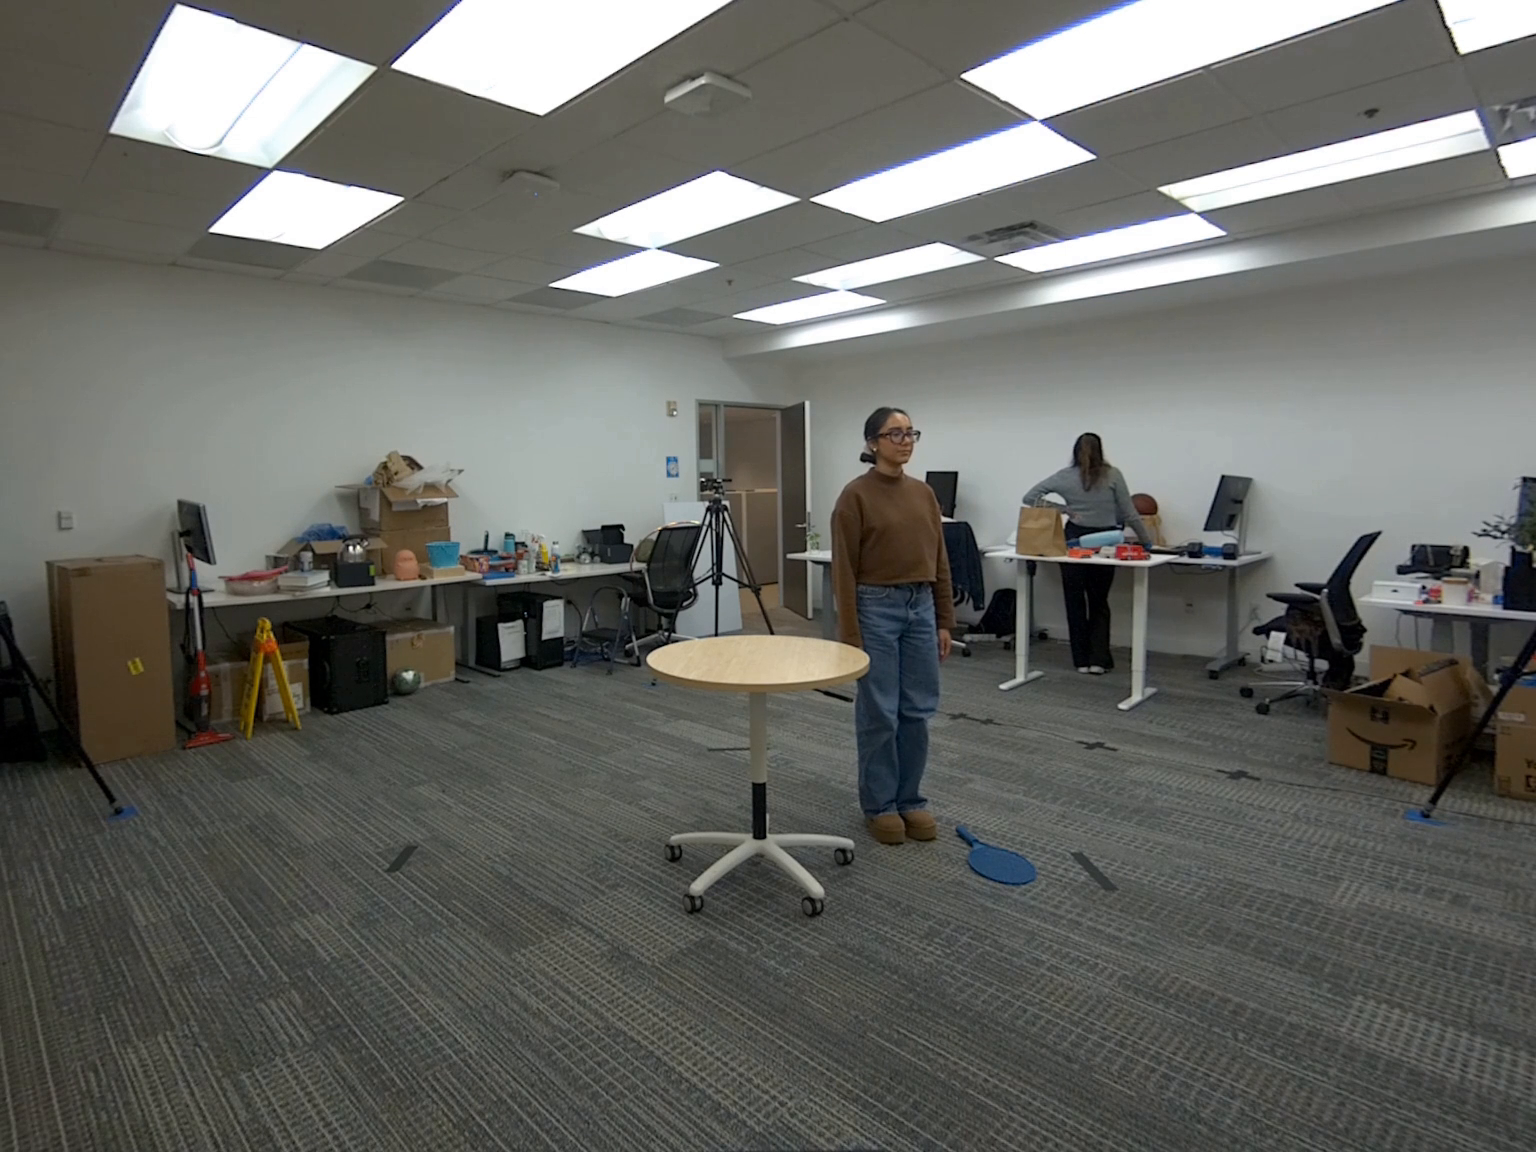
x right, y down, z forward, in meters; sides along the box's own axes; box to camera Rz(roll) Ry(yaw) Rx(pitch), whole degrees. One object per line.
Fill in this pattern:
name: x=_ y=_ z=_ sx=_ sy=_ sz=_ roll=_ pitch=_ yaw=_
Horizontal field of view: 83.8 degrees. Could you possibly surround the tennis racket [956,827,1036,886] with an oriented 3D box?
tennis racket: x=0.796 y=1.006 z=3.119 sx=0.210 sy=0.031 sz=0.442 roll=-2 pitch=8 yaw=-18
